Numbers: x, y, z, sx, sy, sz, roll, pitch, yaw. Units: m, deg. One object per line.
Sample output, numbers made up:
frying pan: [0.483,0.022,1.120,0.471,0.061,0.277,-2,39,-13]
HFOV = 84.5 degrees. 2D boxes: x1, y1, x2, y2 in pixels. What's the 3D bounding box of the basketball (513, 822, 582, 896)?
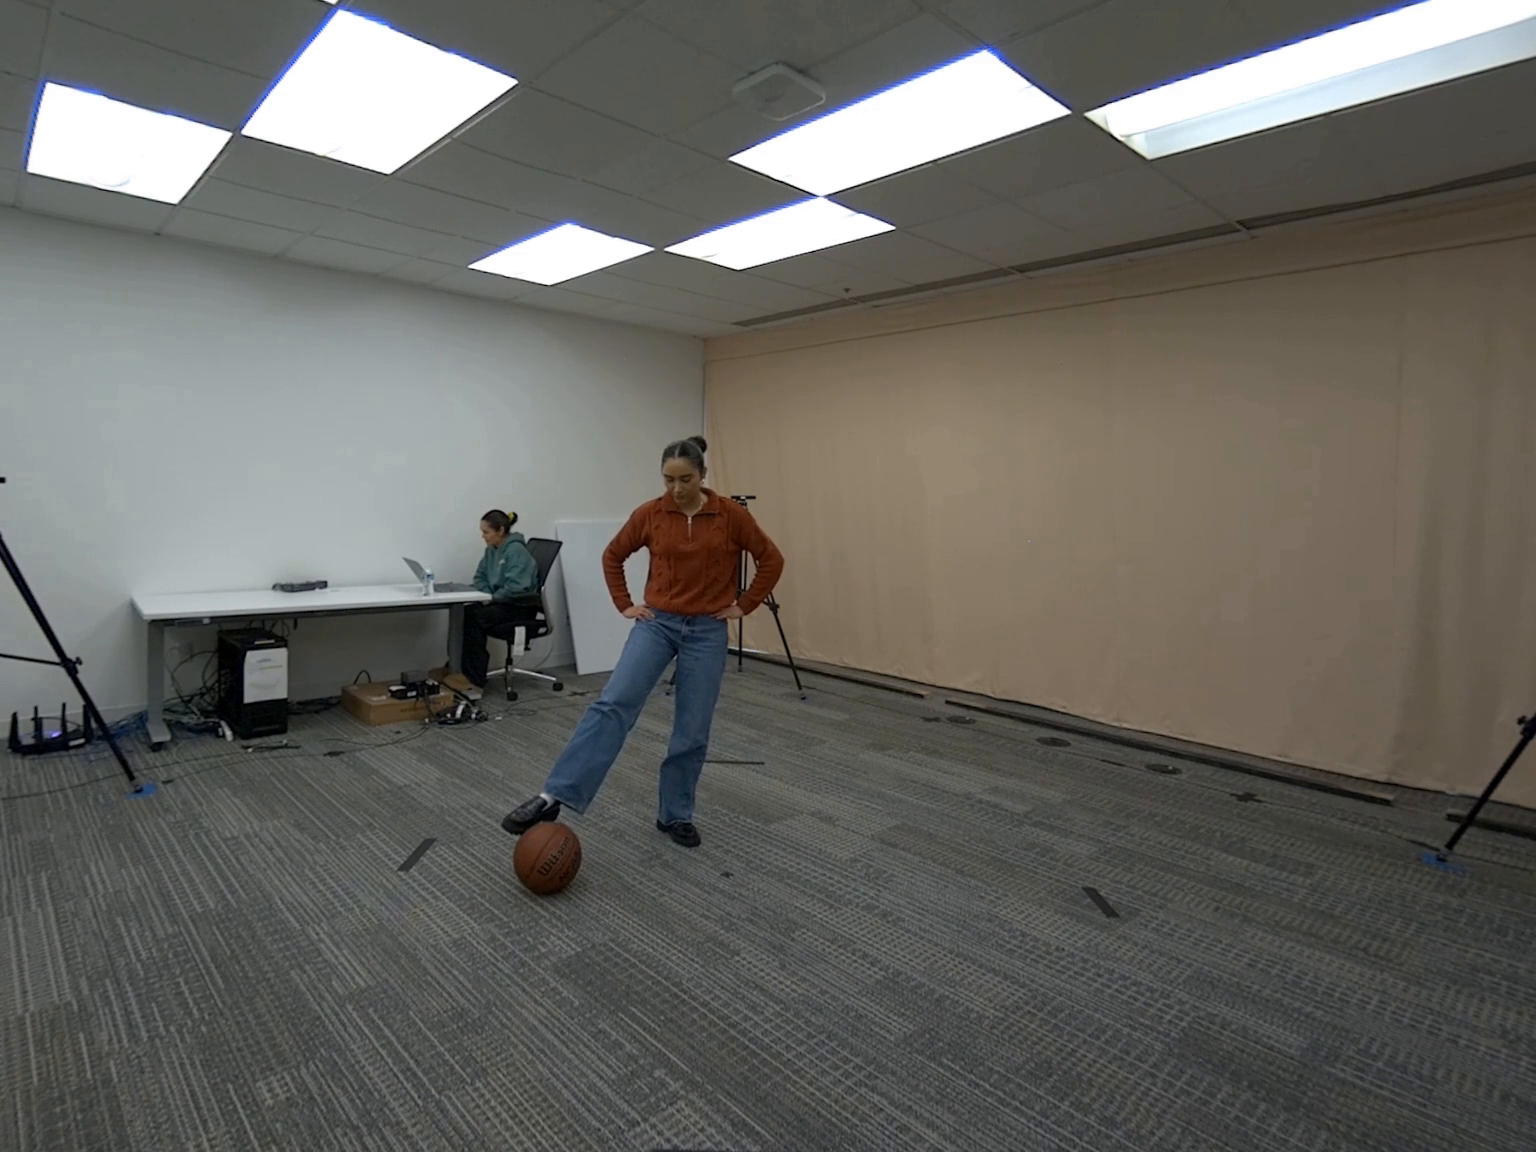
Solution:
basketball: [-0.775,0.985,2.948,0.236,0.235,0.237,1,4,-1]
